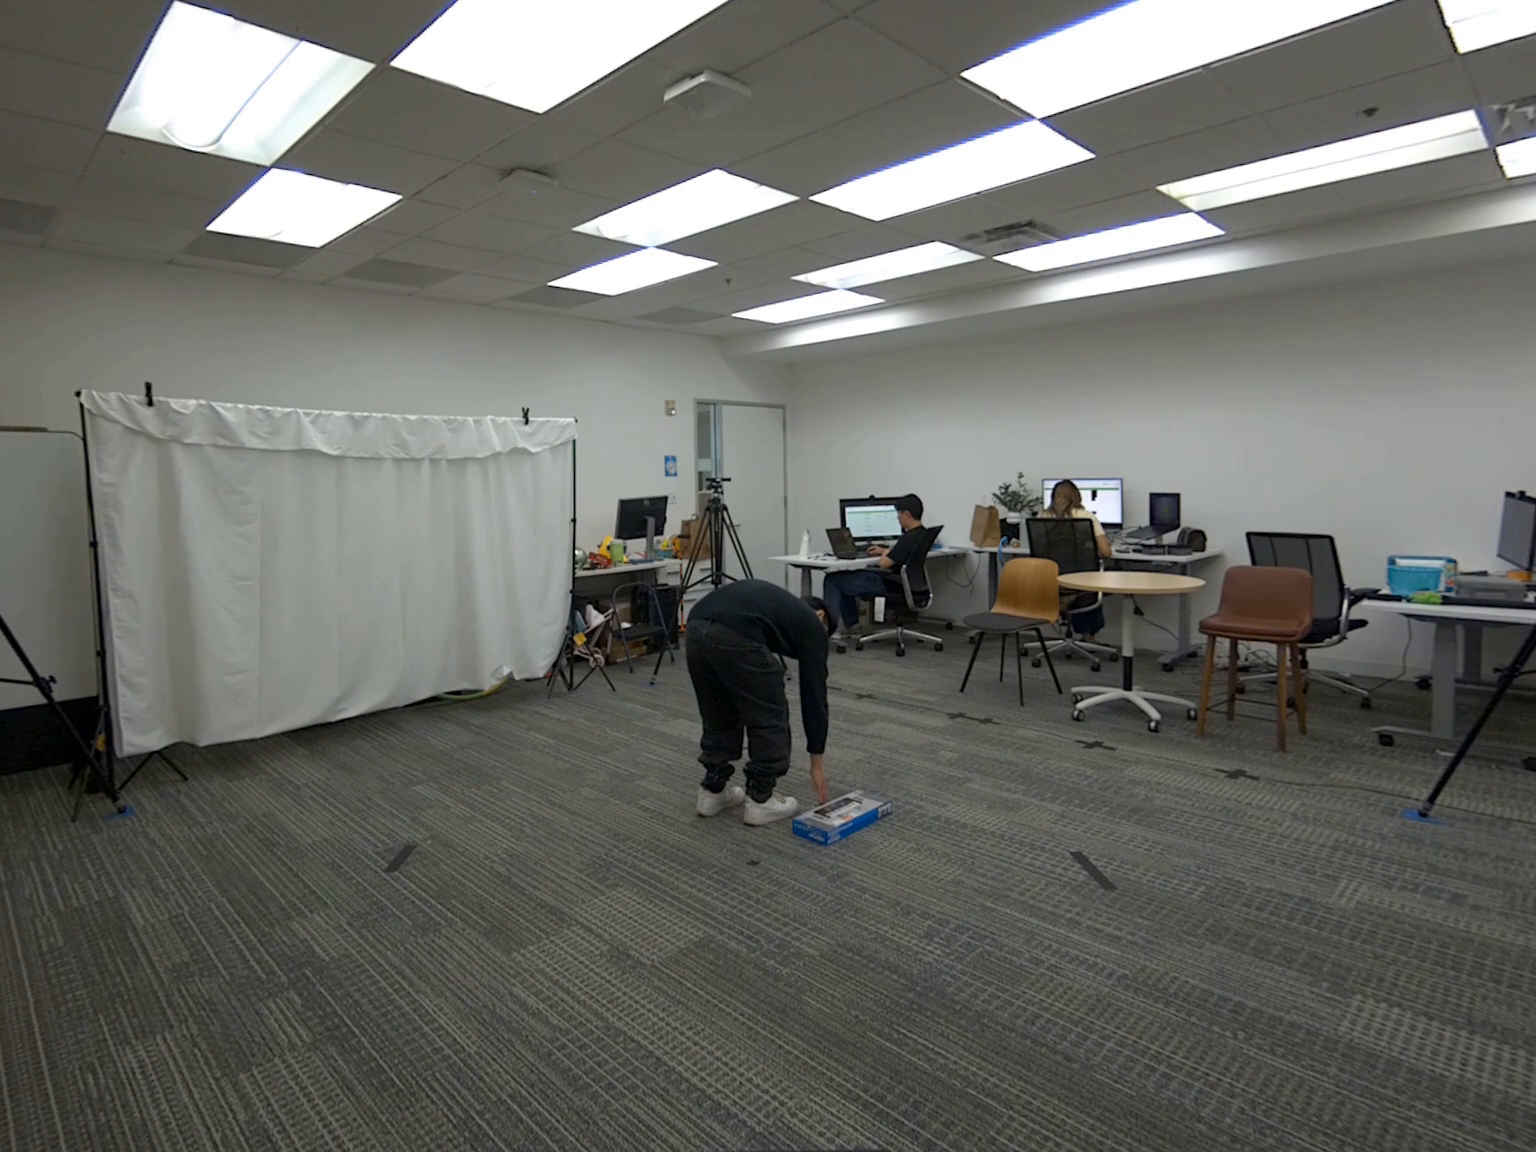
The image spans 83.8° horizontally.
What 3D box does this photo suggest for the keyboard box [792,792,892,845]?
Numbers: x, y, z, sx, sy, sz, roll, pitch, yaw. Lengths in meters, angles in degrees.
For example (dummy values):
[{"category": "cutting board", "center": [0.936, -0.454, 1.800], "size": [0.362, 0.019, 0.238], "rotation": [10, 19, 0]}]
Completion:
[{"category": "keyboard box", "center": [0.307, 0.967, 3.443], "size": [0.181, 0.059, 0.425], "rotation": [6, 9, 44]}]
